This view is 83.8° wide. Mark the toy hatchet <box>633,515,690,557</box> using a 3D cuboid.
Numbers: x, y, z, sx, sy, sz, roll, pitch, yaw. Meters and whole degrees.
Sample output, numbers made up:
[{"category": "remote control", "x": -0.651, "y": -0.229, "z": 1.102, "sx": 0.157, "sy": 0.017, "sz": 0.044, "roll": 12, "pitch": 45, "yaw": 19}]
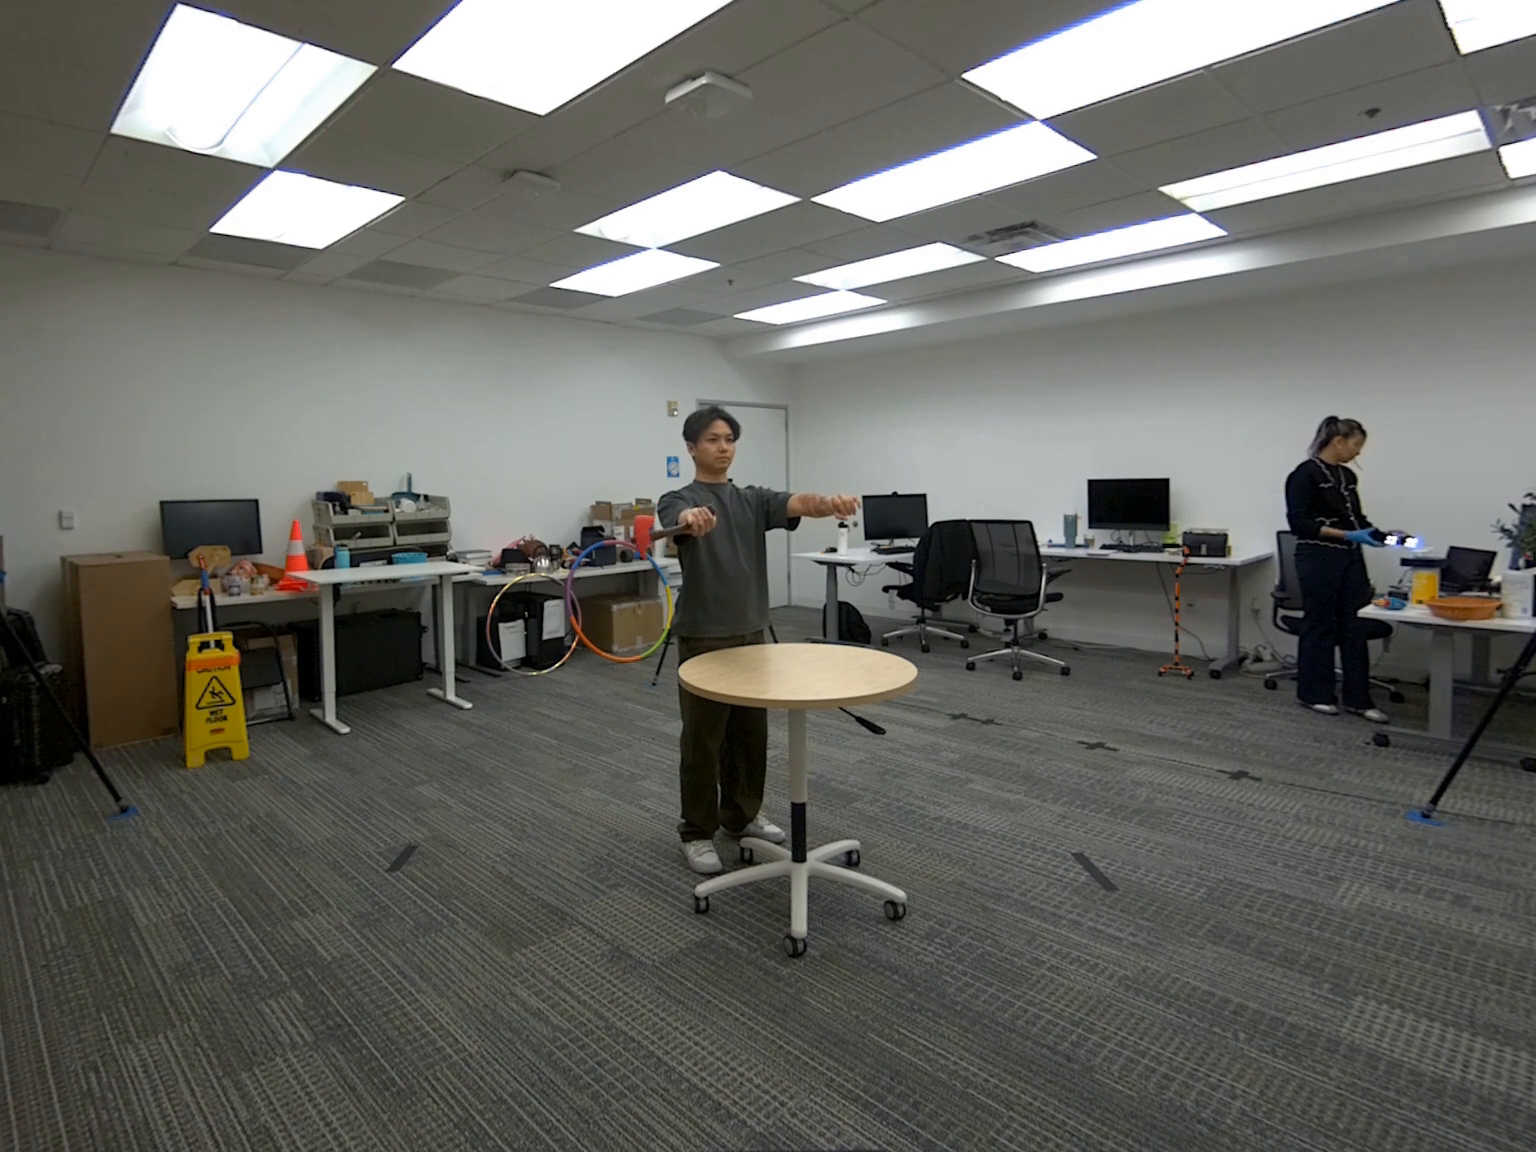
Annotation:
[{"category": "toy hatchet", "x": -0.289, "y": -0.195, "z": 2.549, "sx": 0.269, "sy": 0.128, "sz": 0.030, "roll": -32, "pitch": 20, "yaw": -14}]
